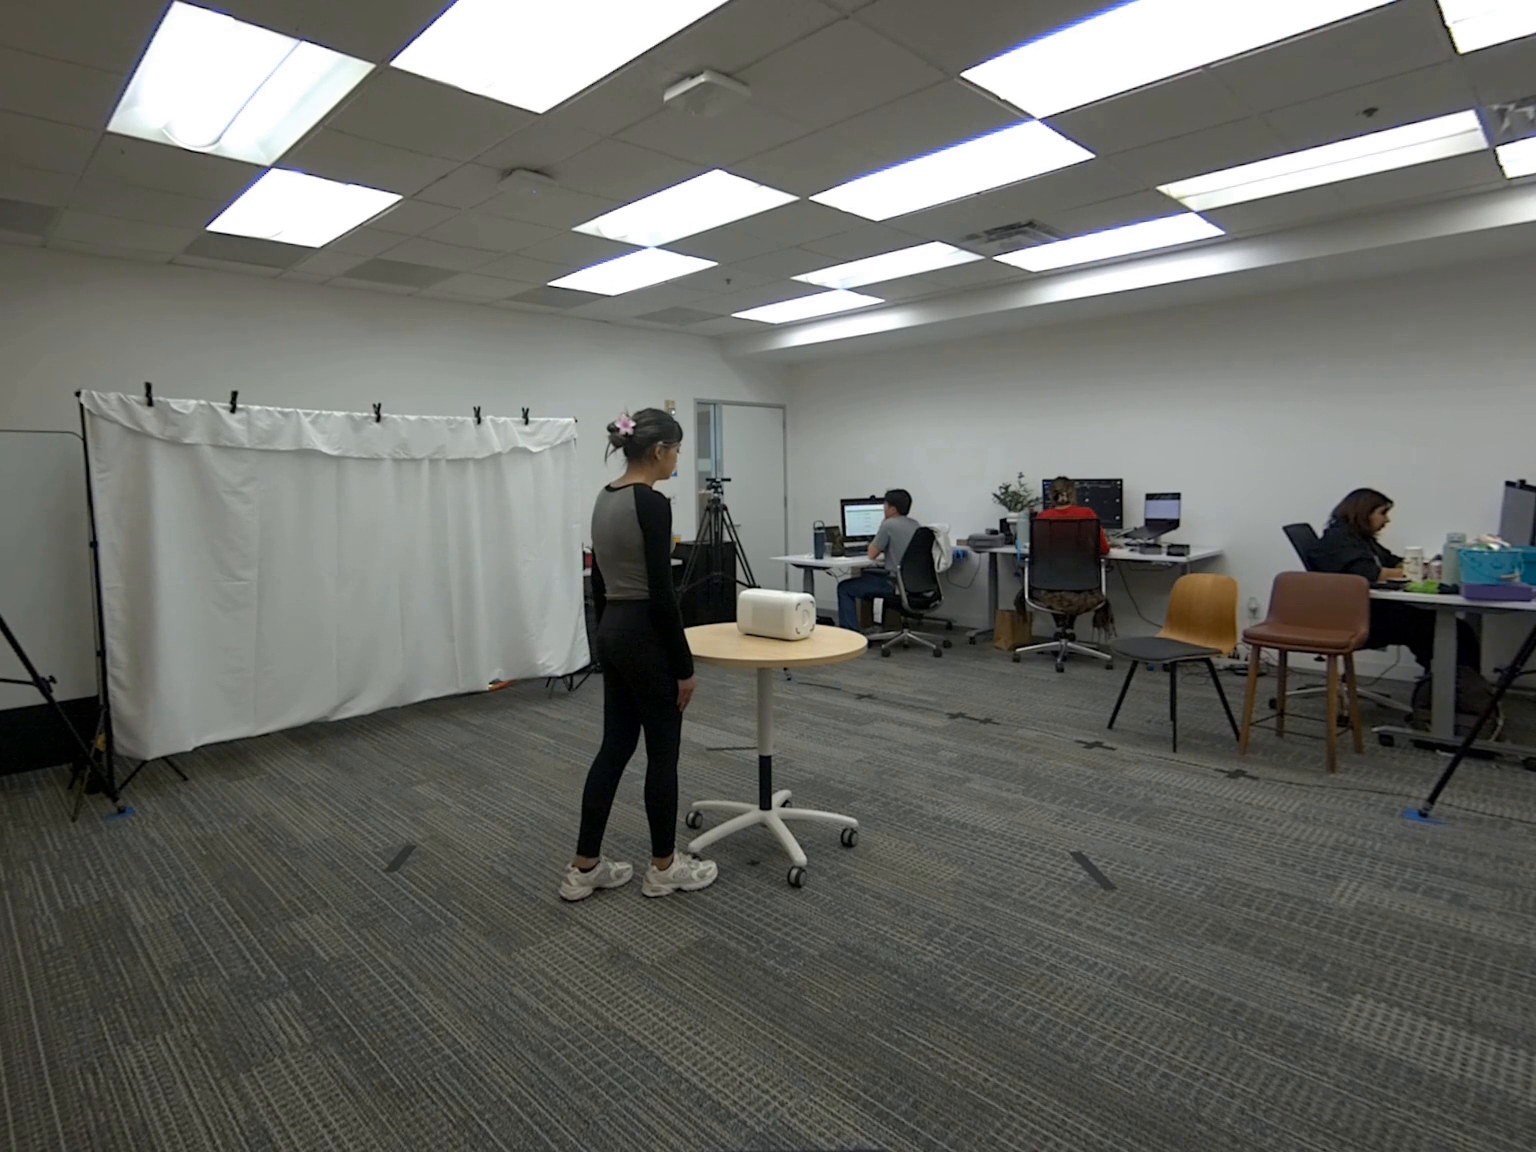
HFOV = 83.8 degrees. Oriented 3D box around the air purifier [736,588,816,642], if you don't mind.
[{"bbox_3d":[0.037,0.143,3.256,0.273,0.171,0.166,4,5,40],"label":"air purifier"}]
